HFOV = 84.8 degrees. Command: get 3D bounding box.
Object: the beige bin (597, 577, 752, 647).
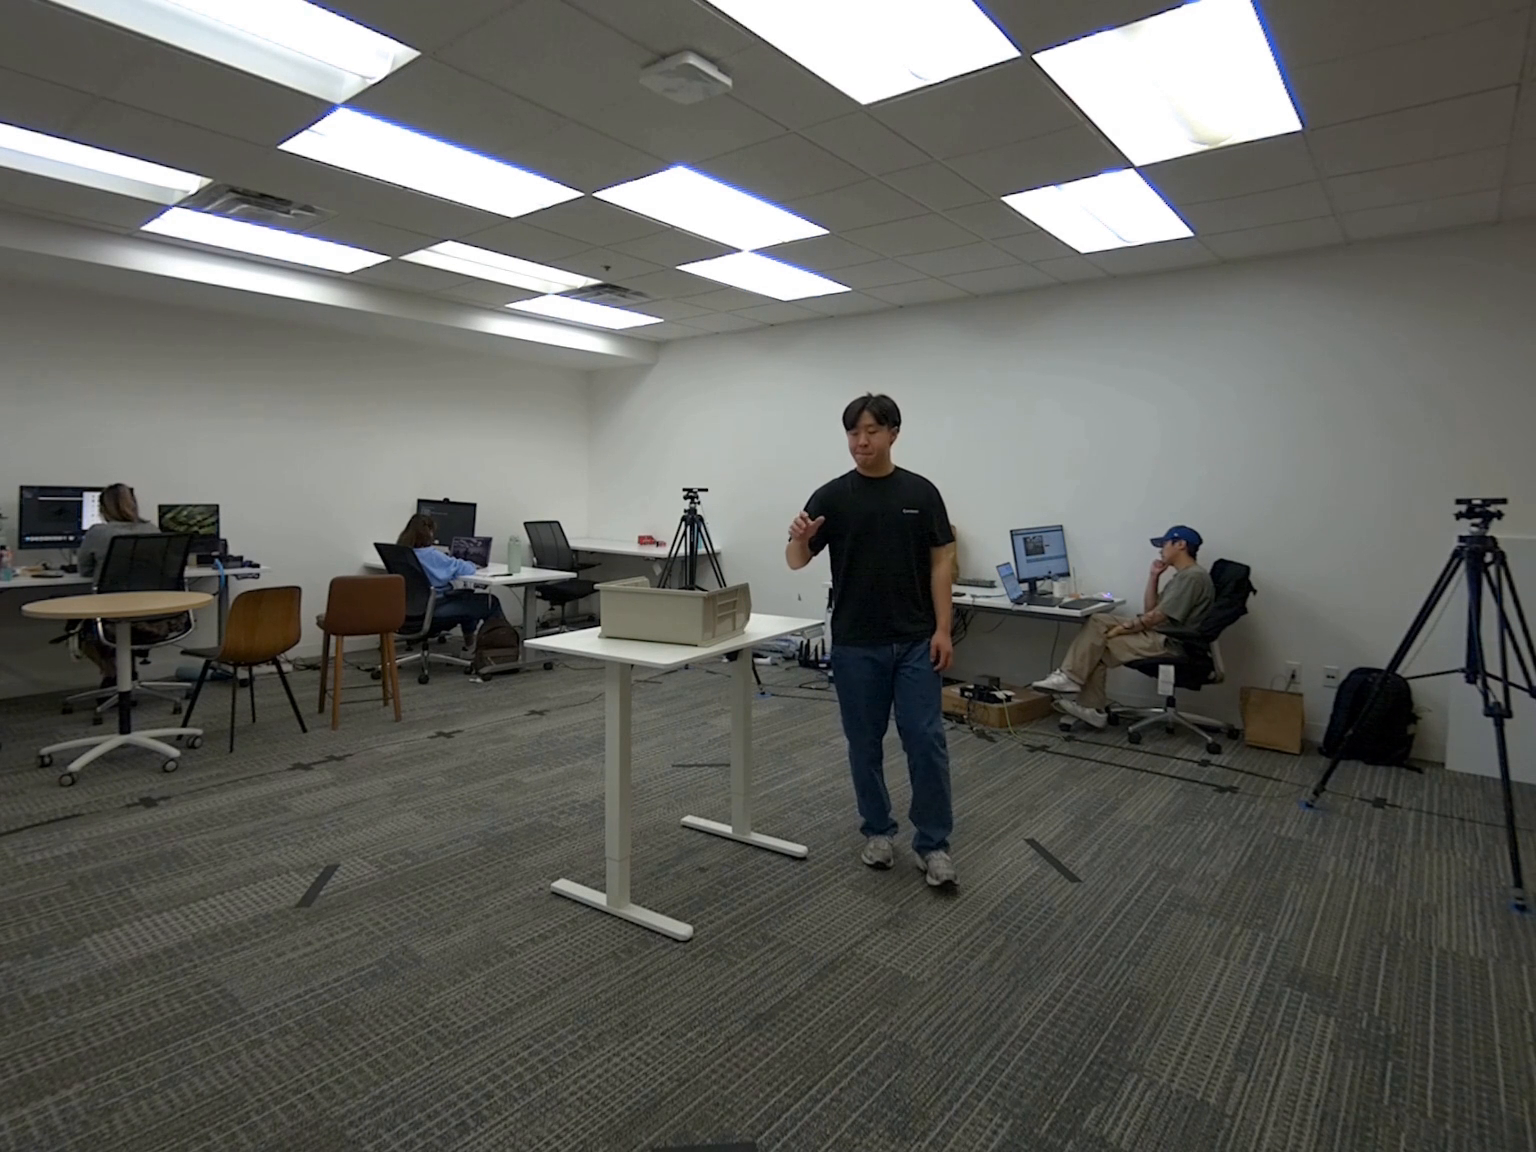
[{"bbox_3d":[-0.334,0.119,2.935,0.432,0.188,0.371,2,7,22],"label":"beige bin"}]
